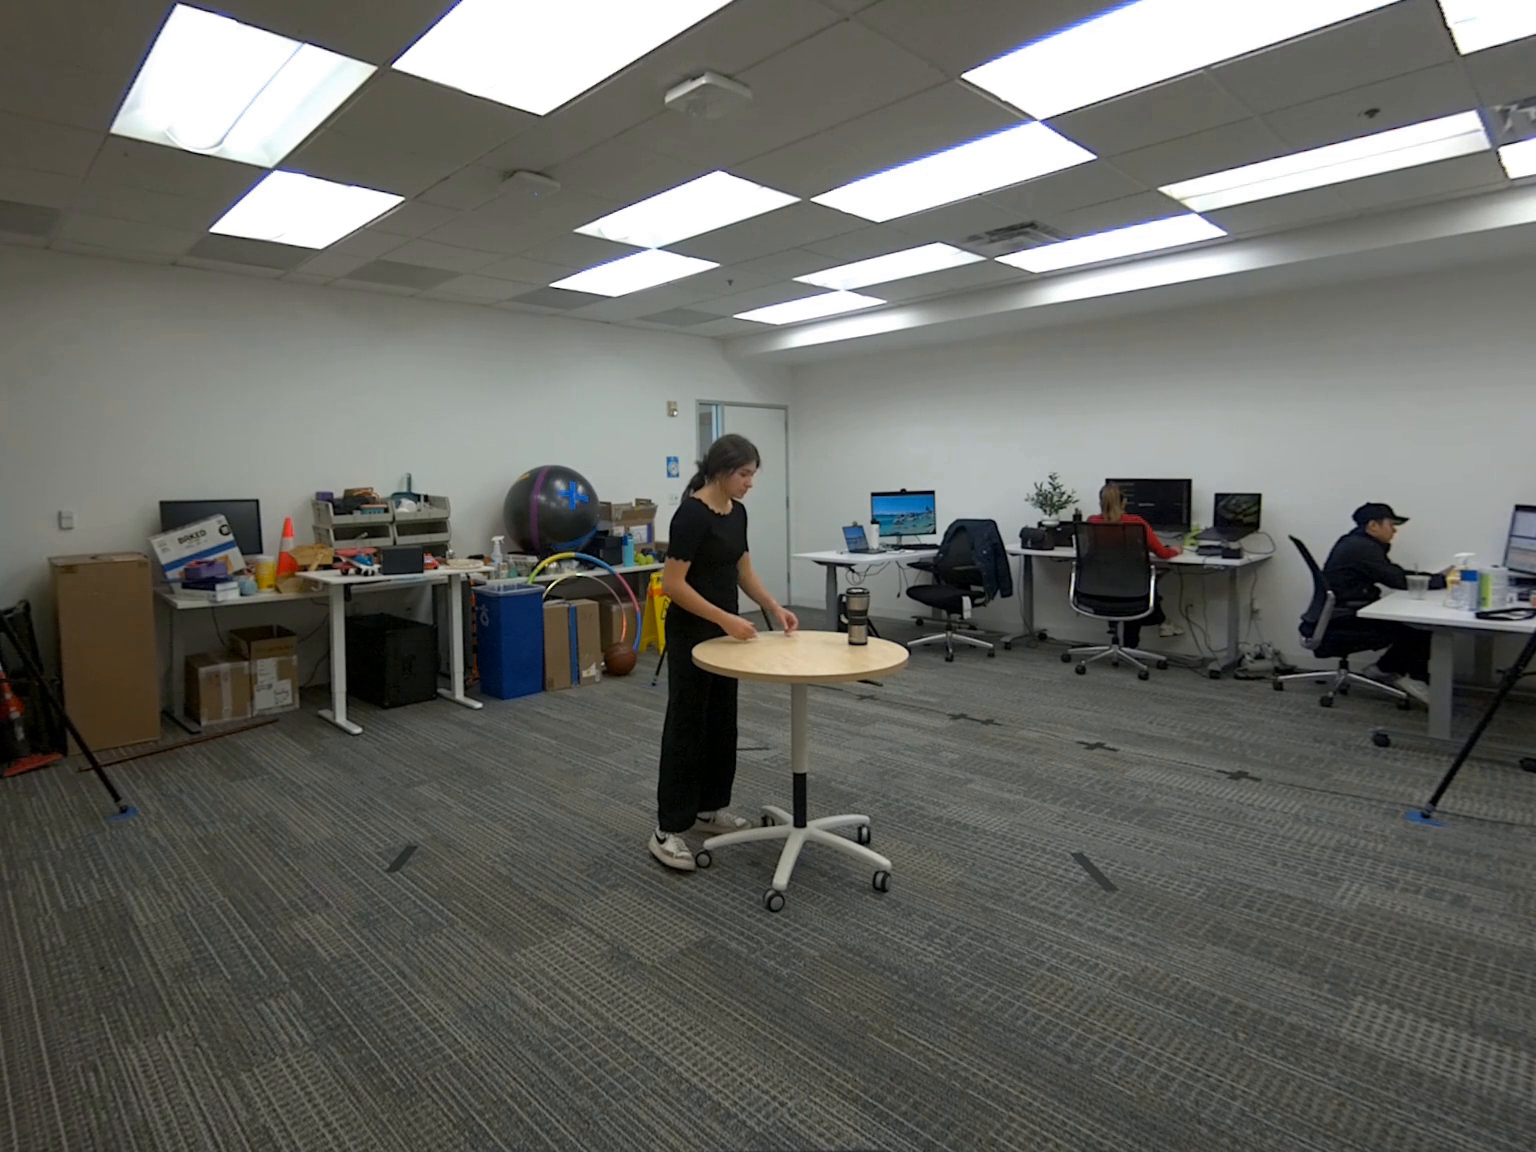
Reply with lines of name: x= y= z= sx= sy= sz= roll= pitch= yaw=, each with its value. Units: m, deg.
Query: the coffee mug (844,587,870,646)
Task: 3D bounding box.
coffee mug: x=0.314 y=0.148 z=3.164 sx=0.086 sy=0.201 sz=0.126 roll=-10 pitch=12 yaw=-37
